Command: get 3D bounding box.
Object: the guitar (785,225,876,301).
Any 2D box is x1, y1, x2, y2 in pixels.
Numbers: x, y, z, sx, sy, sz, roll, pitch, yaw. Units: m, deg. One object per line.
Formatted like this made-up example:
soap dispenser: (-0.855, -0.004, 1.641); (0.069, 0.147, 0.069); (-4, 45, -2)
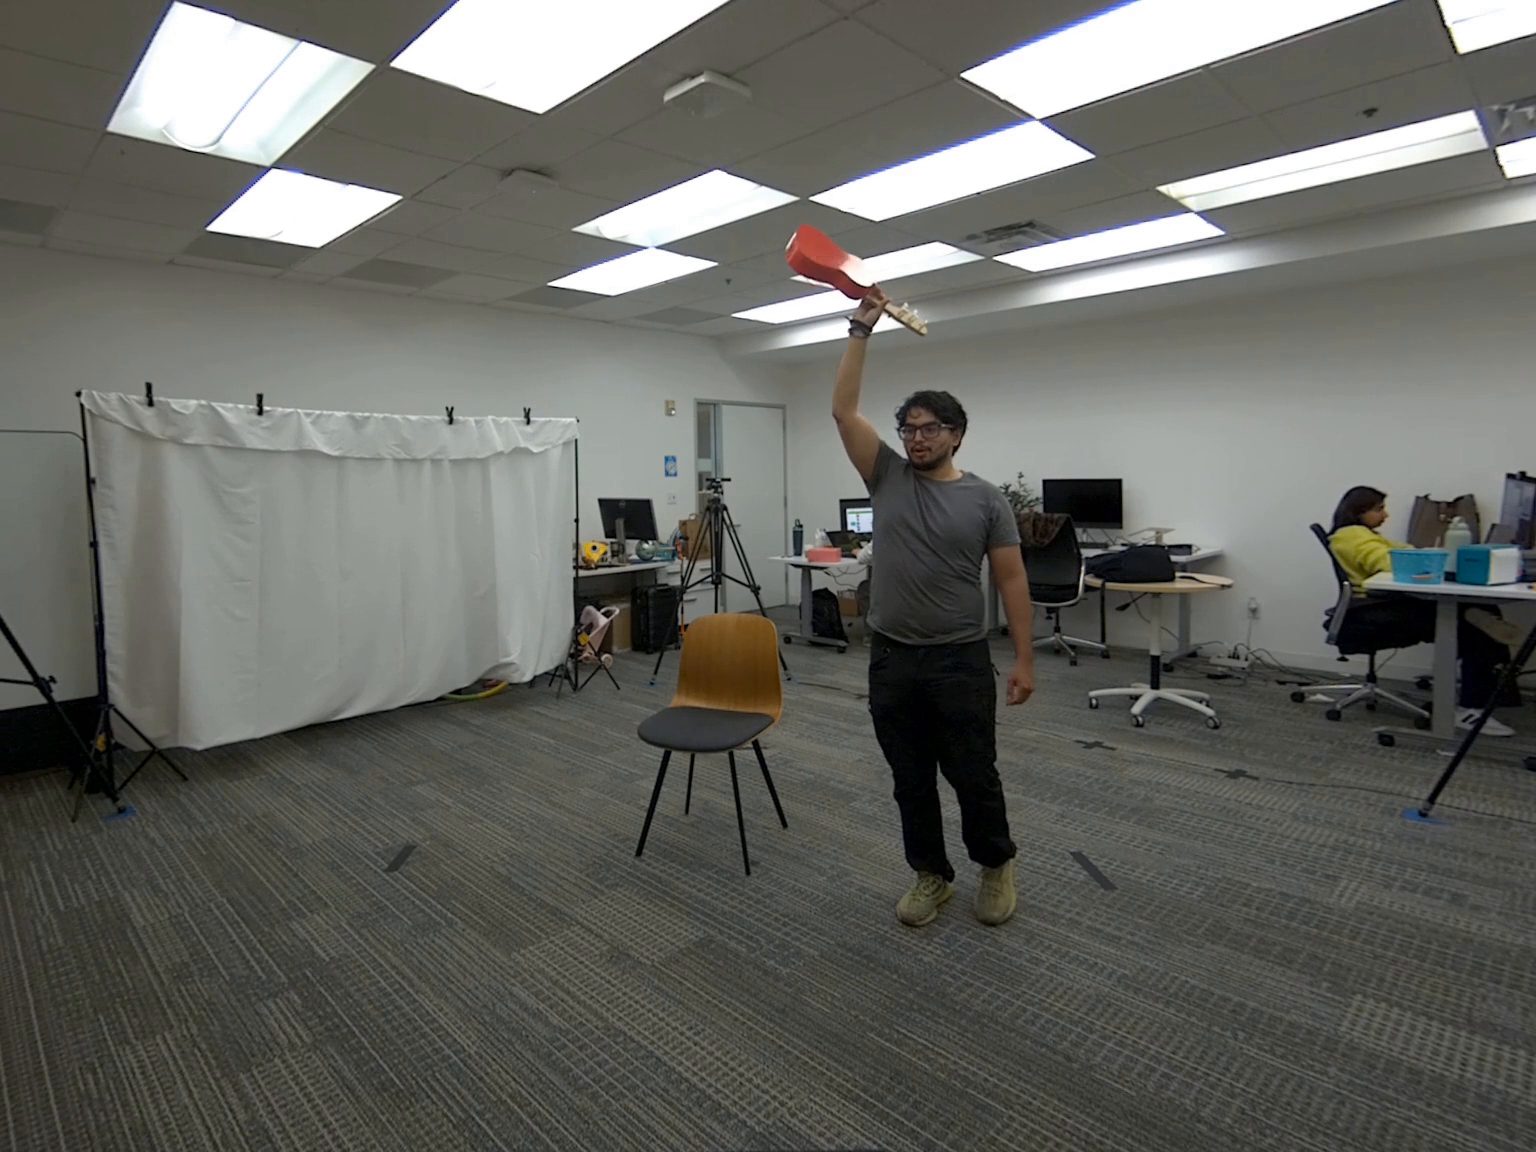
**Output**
guitar: (0.284, -0.884, 2.552); (0.486, 0.198, 0.070); (20, -46, -20)
